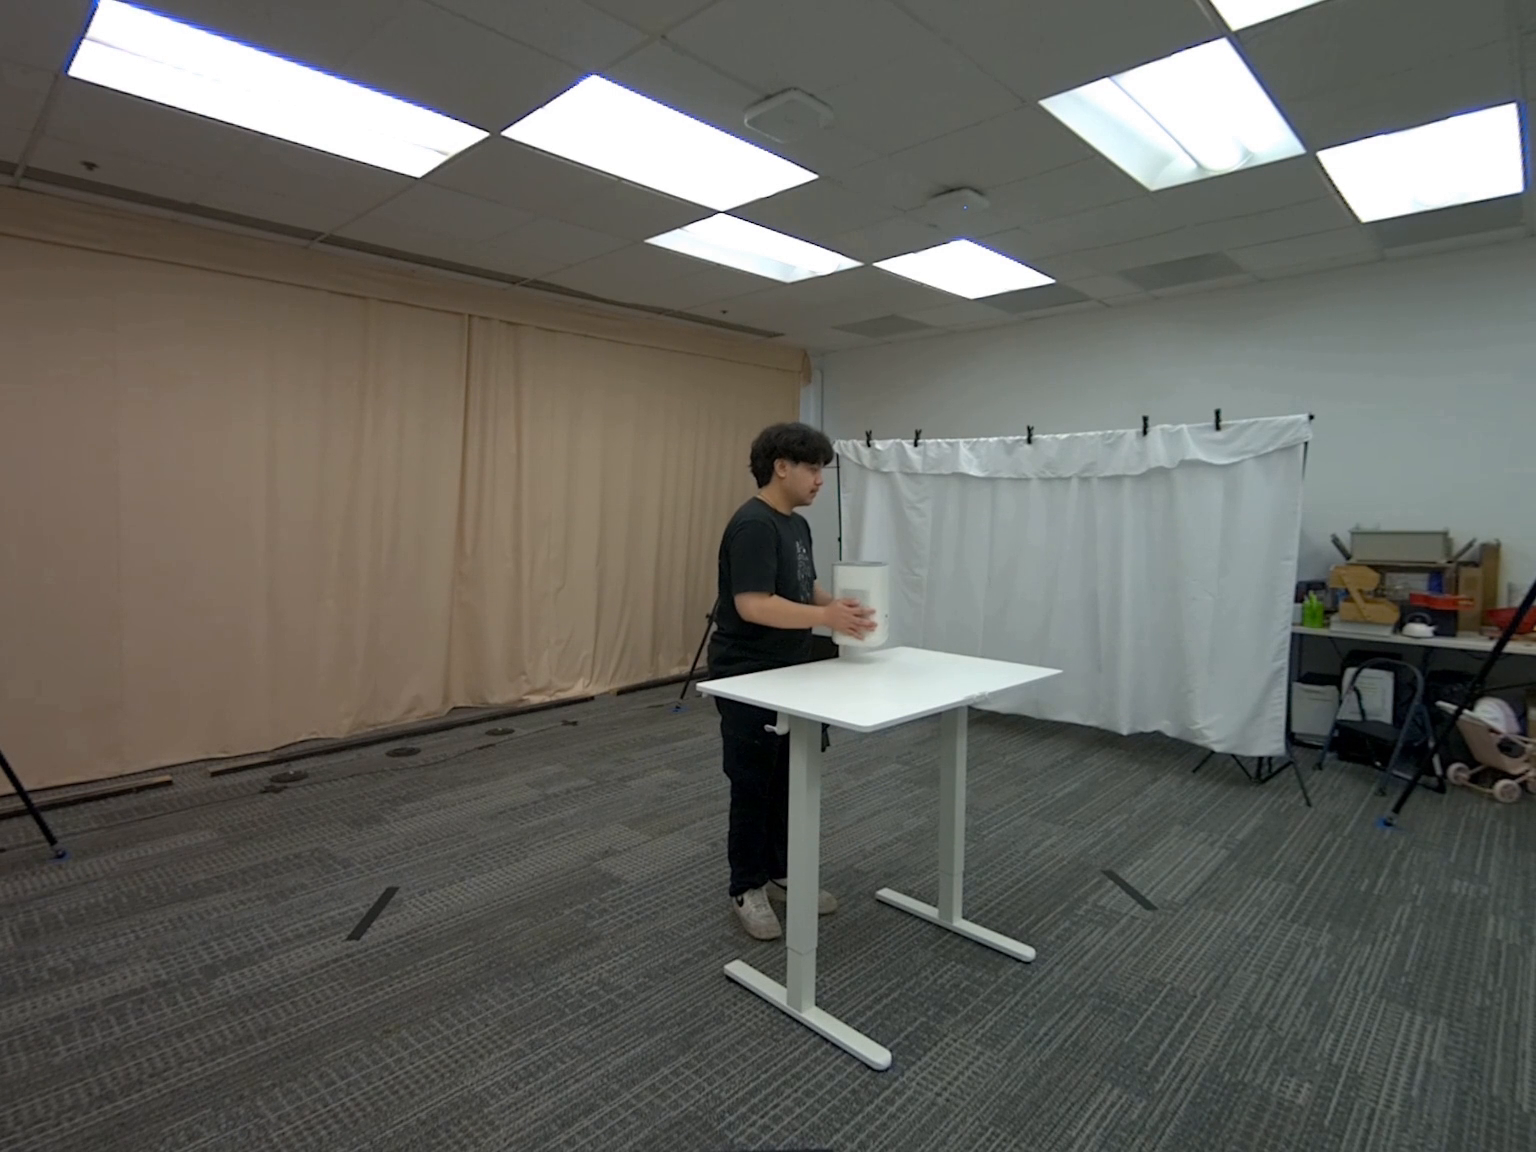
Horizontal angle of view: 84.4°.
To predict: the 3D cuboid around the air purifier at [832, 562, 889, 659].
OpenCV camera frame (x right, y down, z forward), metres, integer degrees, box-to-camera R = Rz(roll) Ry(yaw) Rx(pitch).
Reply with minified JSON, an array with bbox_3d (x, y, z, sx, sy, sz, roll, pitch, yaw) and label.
[{"bbox_3d":[0.315,0.090,2.730,0.175,0.264,0.168,1,5,20],"label":"air purifier"}]
